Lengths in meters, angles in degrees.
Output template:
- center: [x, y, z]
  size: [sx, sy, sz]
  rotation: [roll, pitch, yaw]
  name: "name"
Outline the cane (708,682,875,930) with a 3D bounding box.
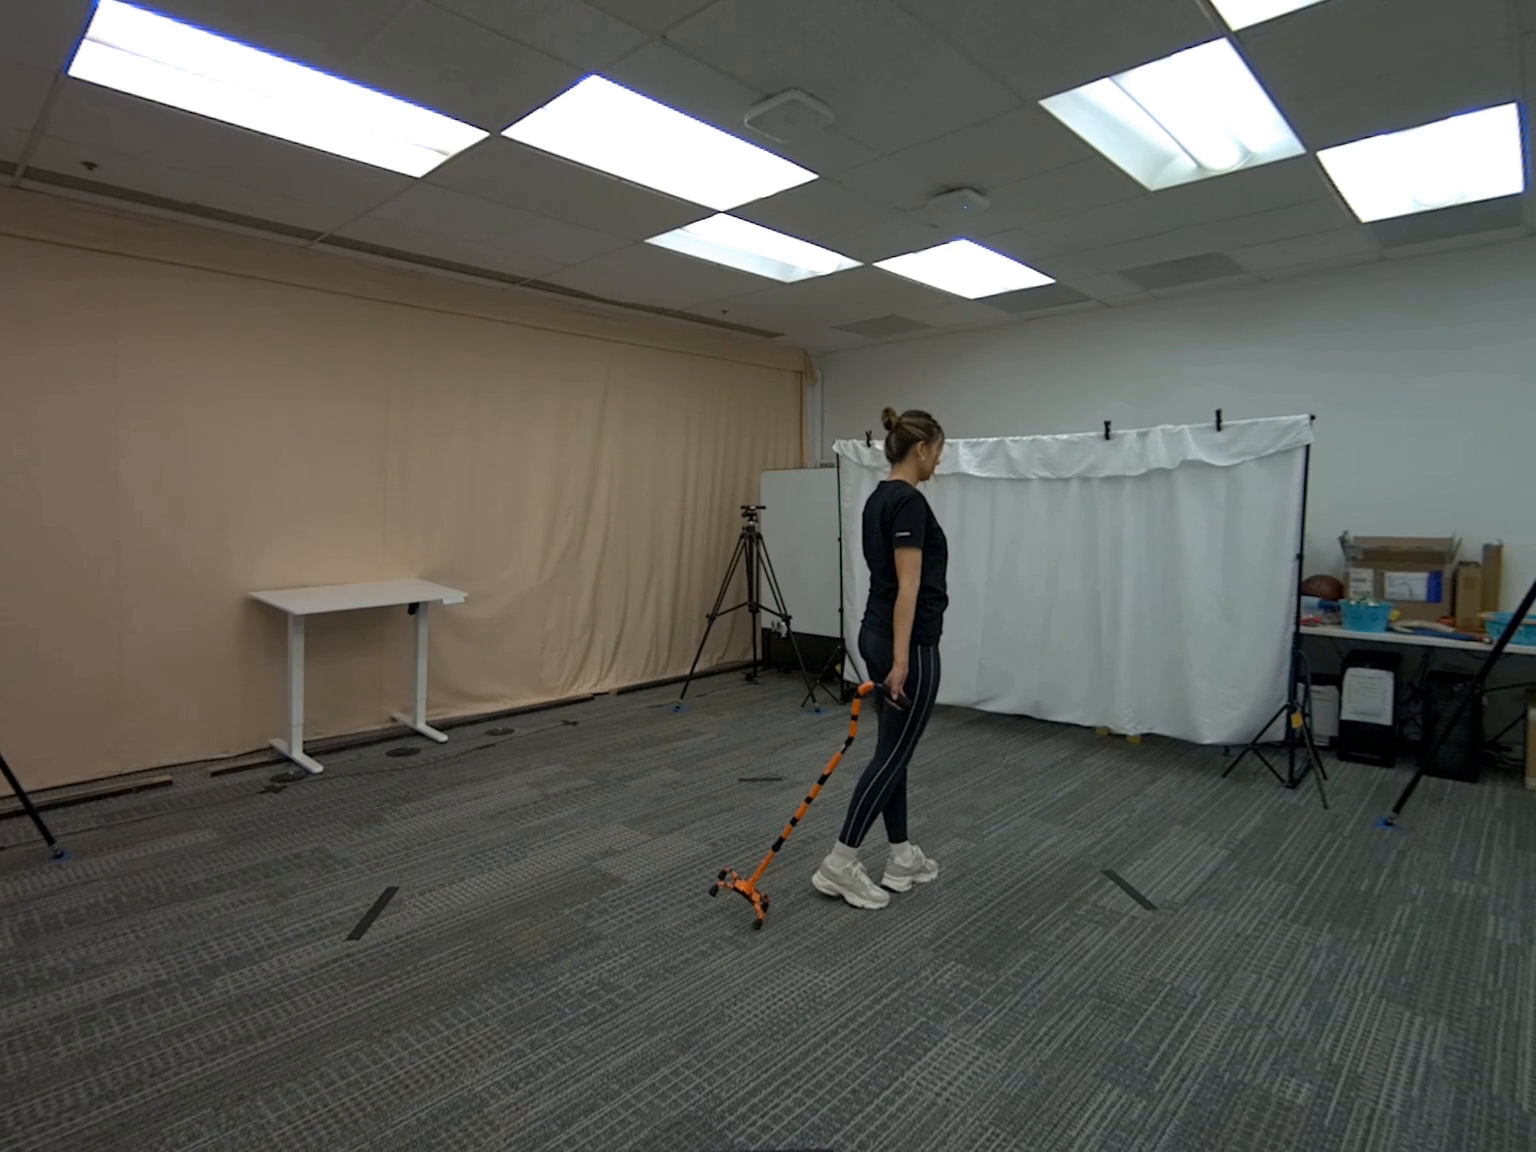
- center: [0.135, 0.726, 2.766]
  size: [0.209, 0.908, 0.150]
  rotation: [34, 10, 9]
  name: "cane"
